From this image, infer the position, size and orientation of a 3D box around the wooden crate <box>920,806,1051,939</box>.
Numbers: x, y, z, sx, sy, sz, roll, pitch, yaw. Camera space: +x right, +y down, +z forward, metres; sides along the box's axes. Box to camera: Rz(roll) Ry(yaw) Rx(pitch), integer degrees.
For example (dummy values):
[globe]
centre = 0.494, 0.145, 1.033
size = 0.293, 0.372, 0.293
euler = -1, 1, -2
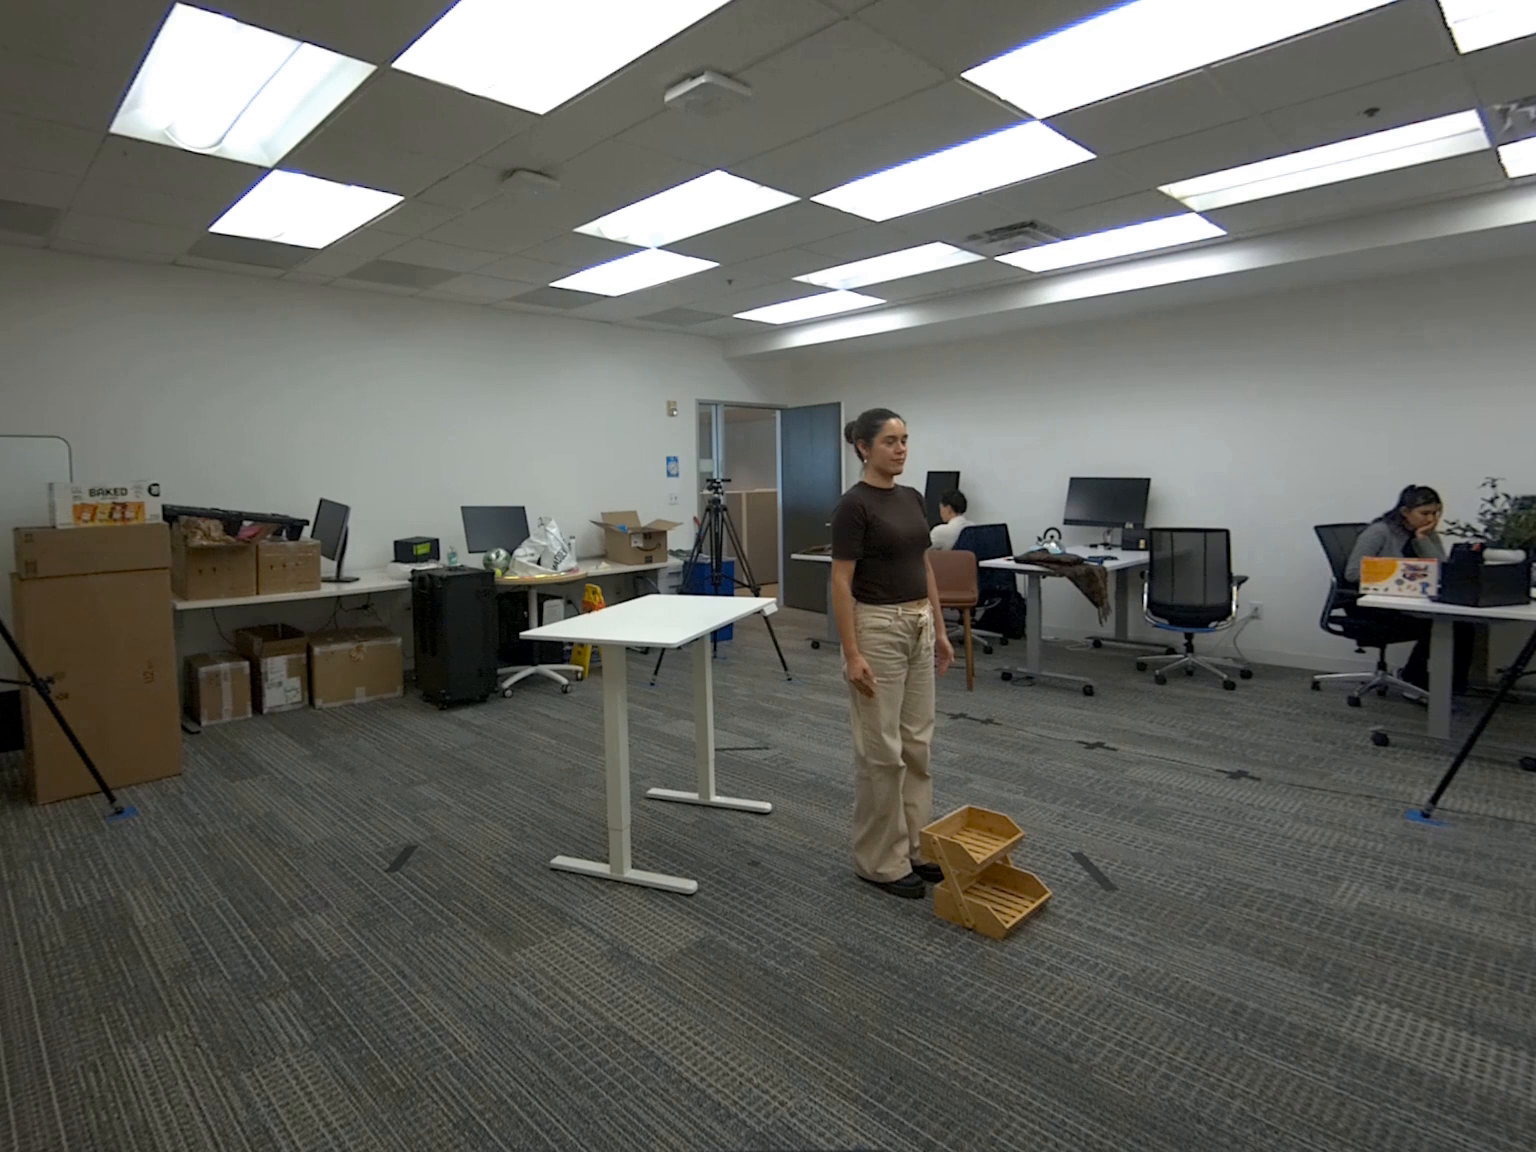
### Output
[wooden crate]
centre = 0.709, 0.943, 2.742
size = 0.311, 0.272, 0.316
euler = 3, 6, 45
